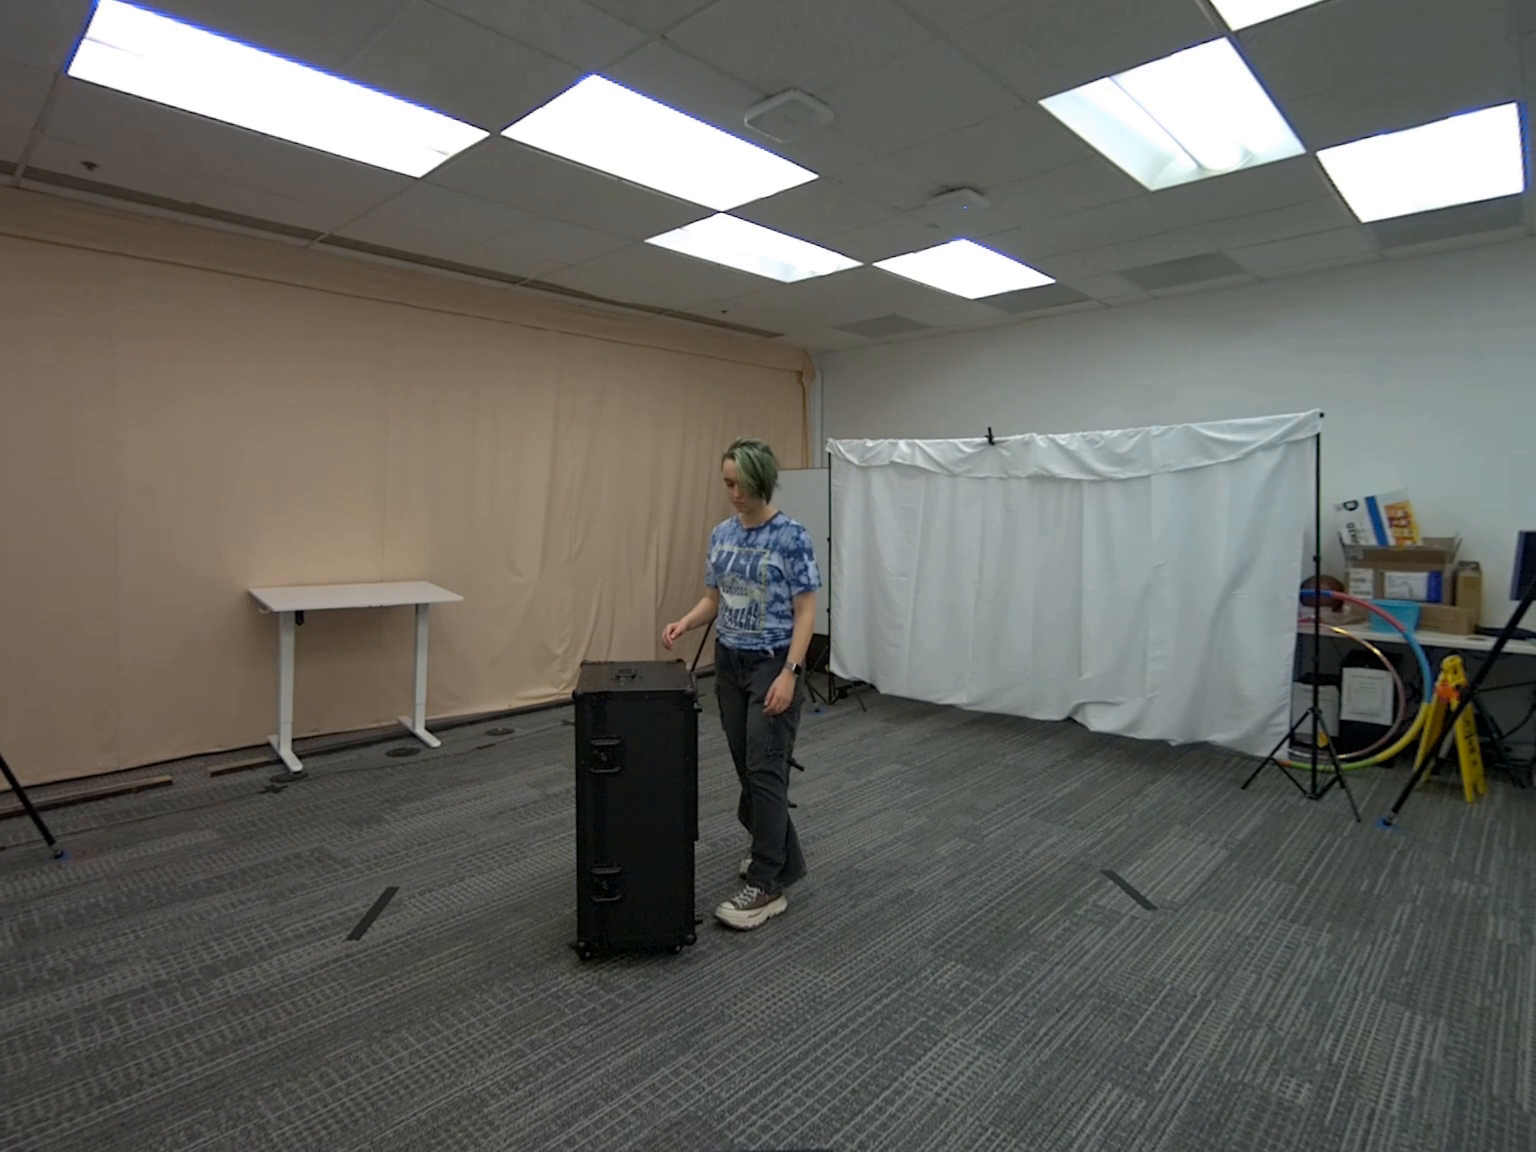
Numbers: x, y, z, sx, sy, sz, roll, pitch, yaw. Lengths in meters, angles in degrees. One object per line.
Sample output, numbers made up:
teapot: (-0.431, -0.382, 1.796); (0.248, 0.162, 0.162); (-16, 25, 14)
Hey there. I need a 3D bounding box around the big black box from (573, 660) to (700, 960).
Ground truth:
big black box: (-0.425, 0.744, 2.737); (0.394, 0.860, 0.525); (0, 2, -7)
